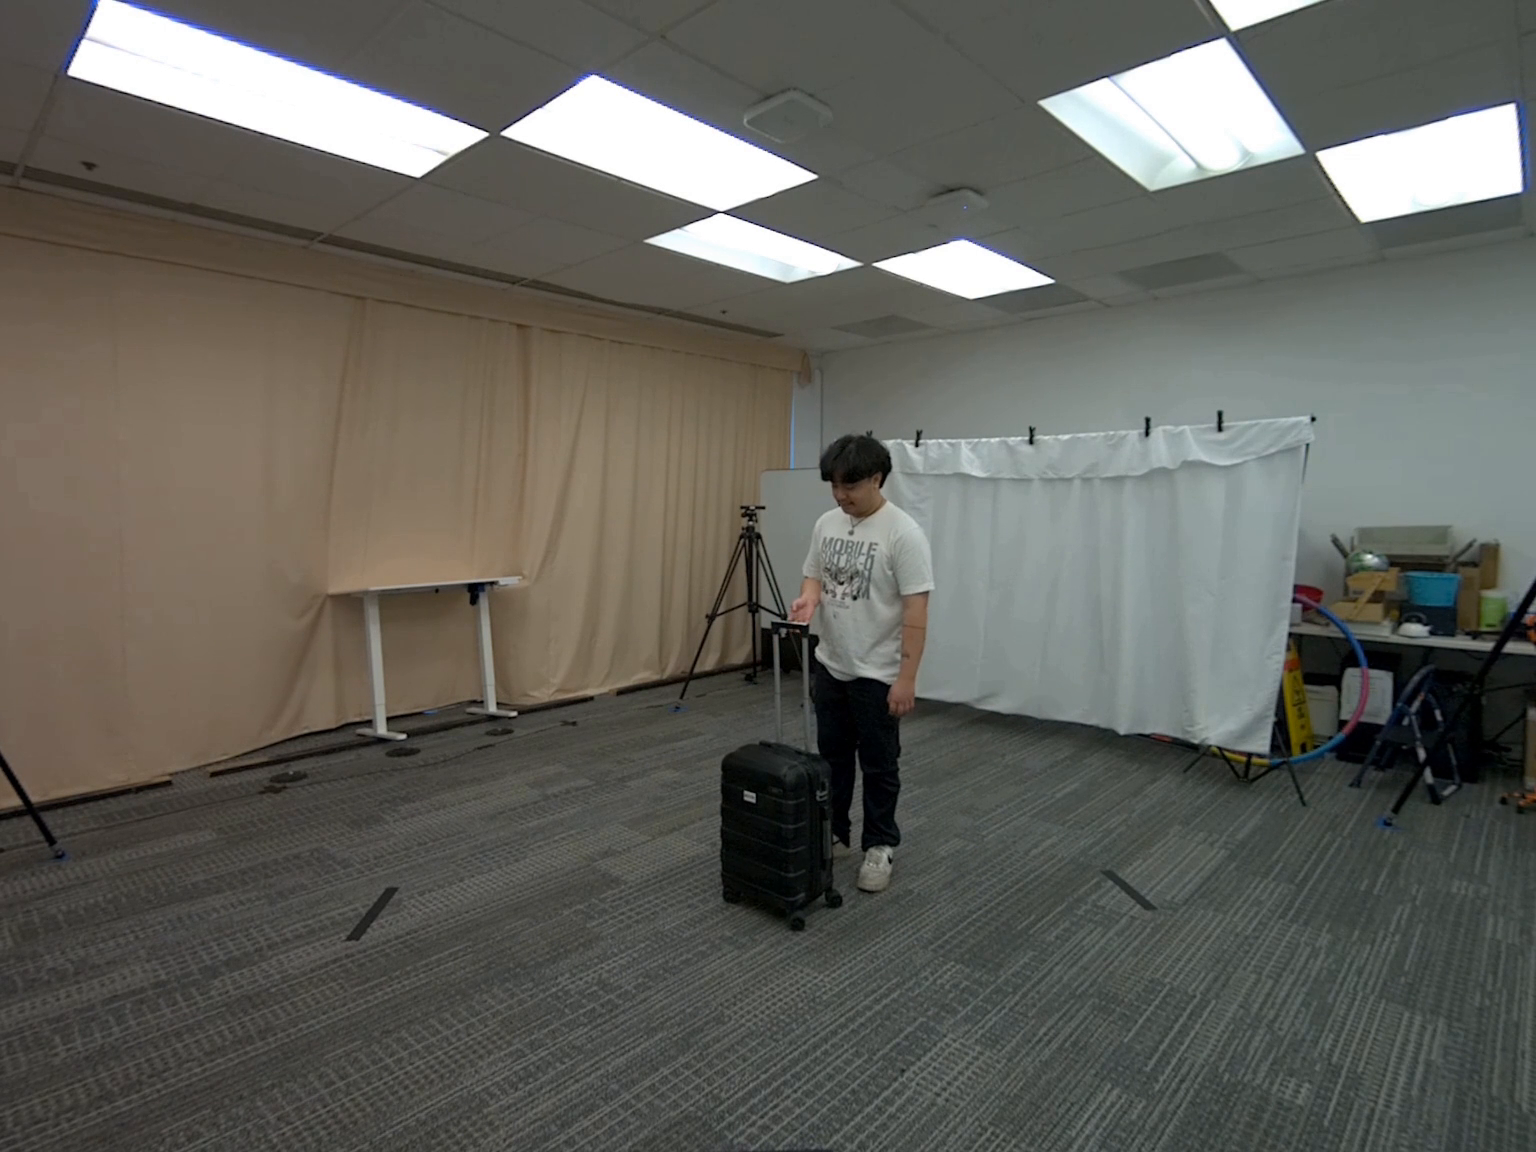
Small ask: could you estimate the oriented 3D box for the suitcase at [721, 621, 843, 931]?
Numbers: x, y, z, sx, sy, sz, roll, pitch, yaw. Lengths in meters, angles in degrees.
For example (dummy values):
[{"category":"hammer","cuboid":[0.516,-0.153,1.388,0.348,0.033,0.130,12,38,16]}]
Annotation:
[{"category":"suitcase","cuboid":[0.023,0.674,2.915,0.397,0.975,0.249,2,6,43]}]
